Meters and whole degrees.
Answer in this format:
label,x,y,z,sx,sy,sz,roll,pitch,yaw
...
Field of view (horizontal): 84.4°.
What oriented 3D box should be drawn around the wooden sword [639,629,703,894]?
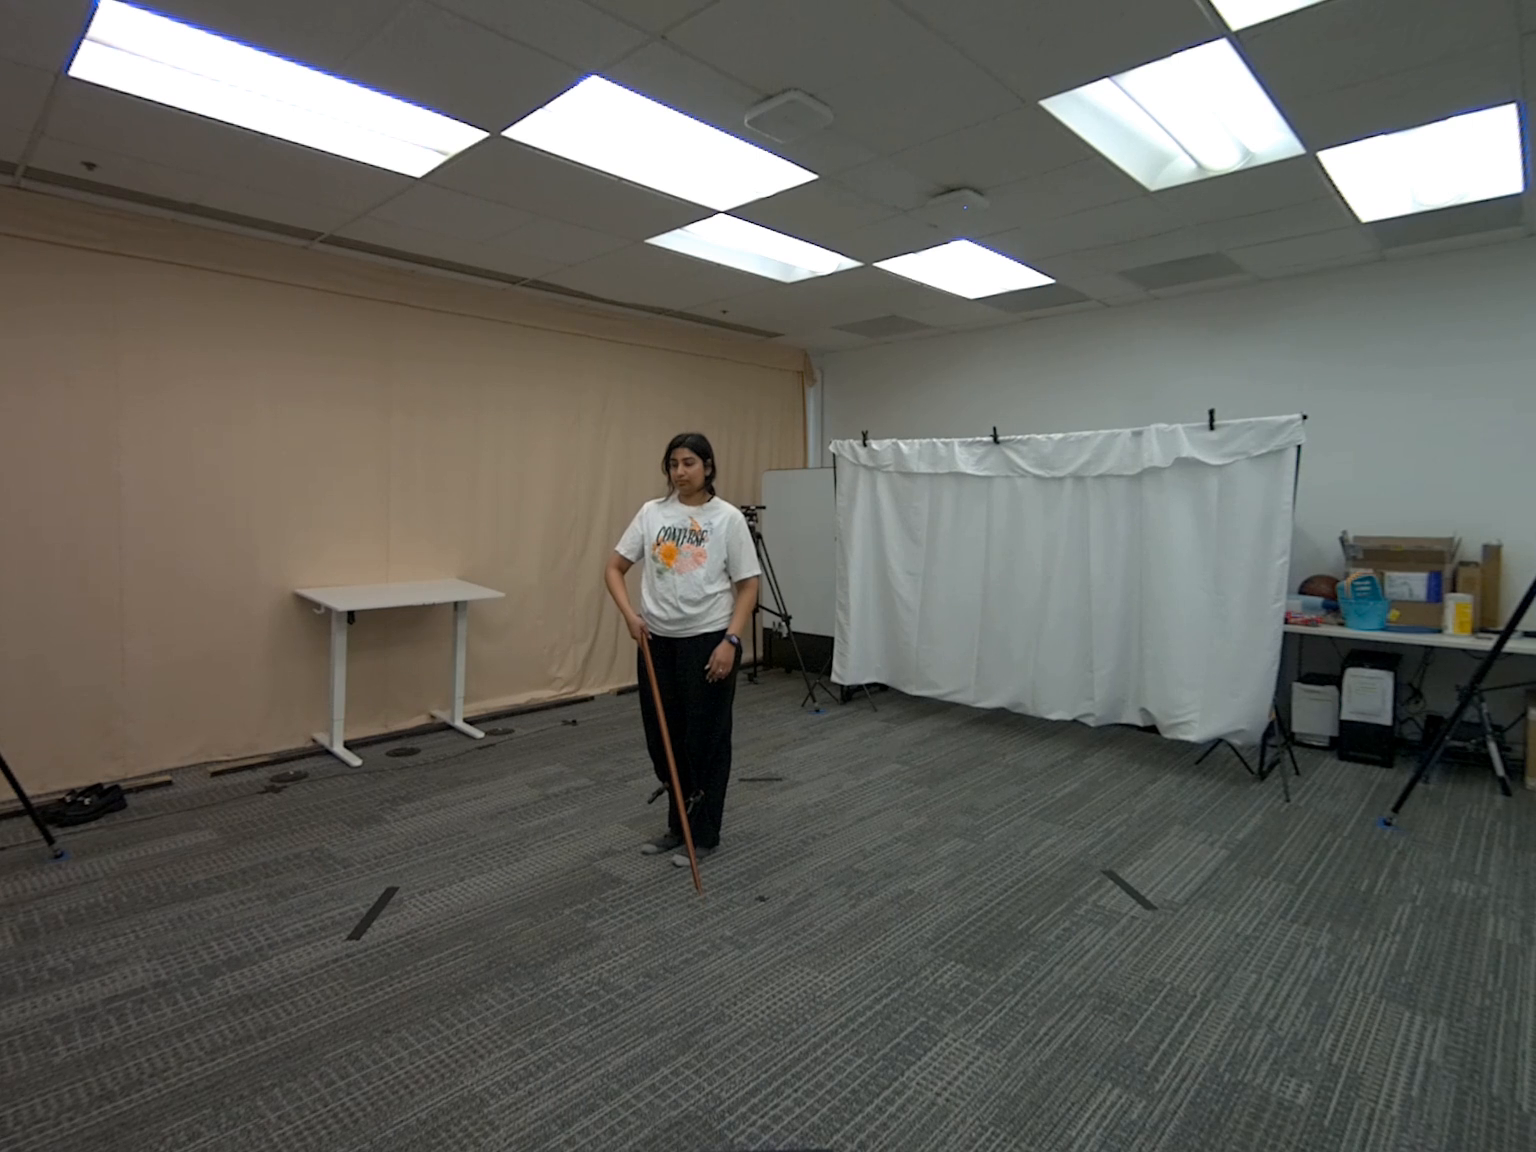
label,x,y,z,sx,sy,sz,roll,pitch,yaw
wooden sword,-0.347,0.627,3.036,0.051,1.048,0.023,-20,-27,1
